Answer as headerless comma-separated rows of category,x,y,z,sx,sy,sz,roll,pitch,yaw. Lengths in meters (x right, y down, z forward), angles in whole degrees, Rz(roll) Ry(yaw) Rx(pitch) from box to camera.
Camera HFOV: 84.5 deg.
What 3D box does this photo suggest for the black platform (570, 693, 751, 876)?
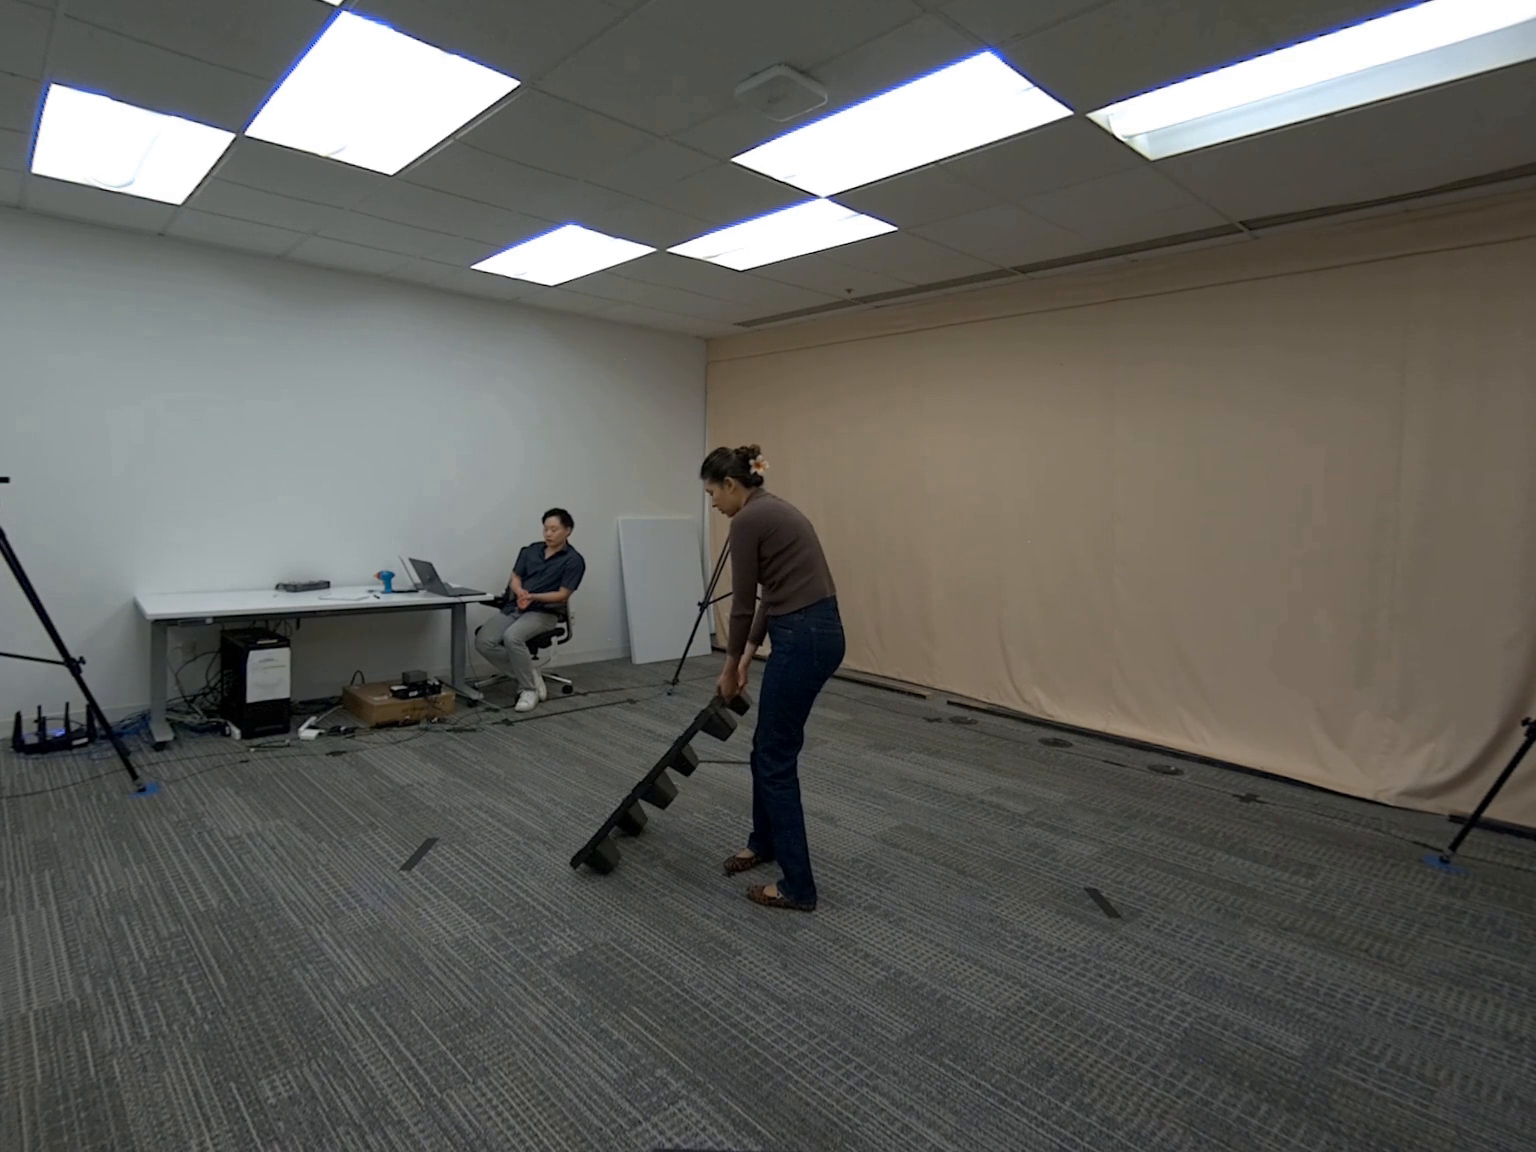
black platform,-0.379,0.760,3.241,0.144,0.805,0.603,40,8,2
